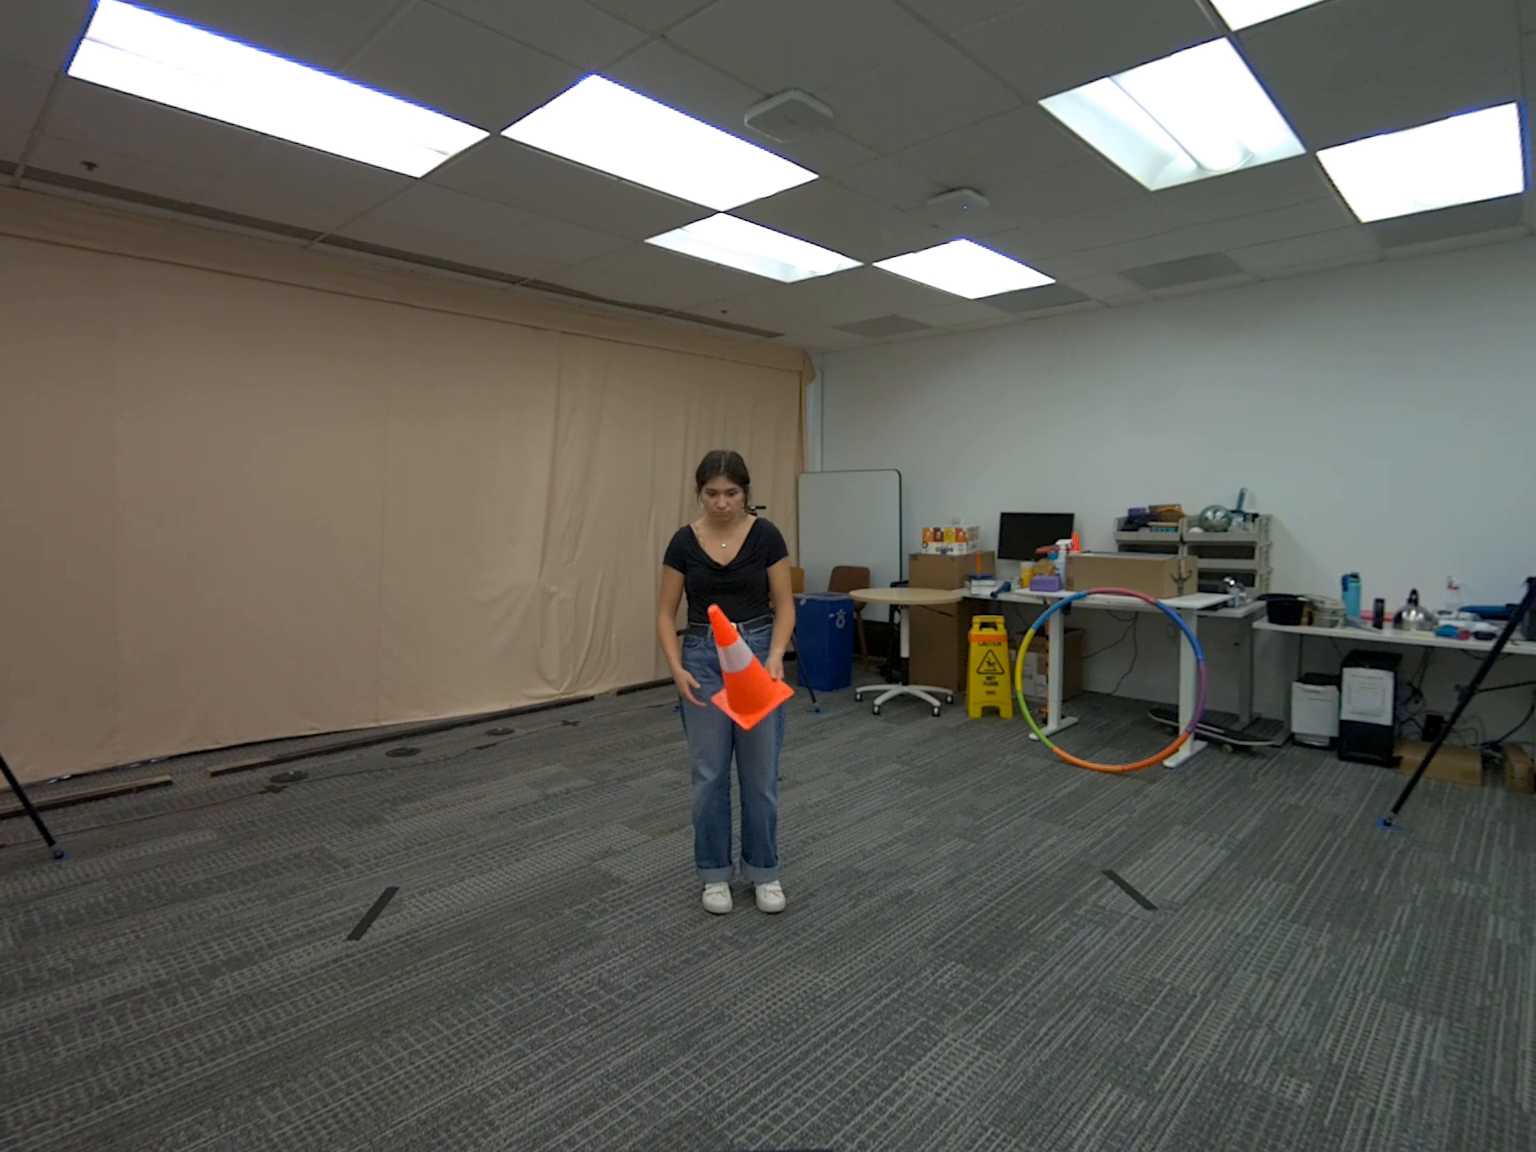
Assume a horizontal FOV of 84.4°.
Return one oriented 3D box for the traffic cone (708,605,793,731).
[{"bbox_3d":[-0.090,0.242,2.545,0.212,0.373,0.201,18,50,43],"label":"traffic cone"}]
